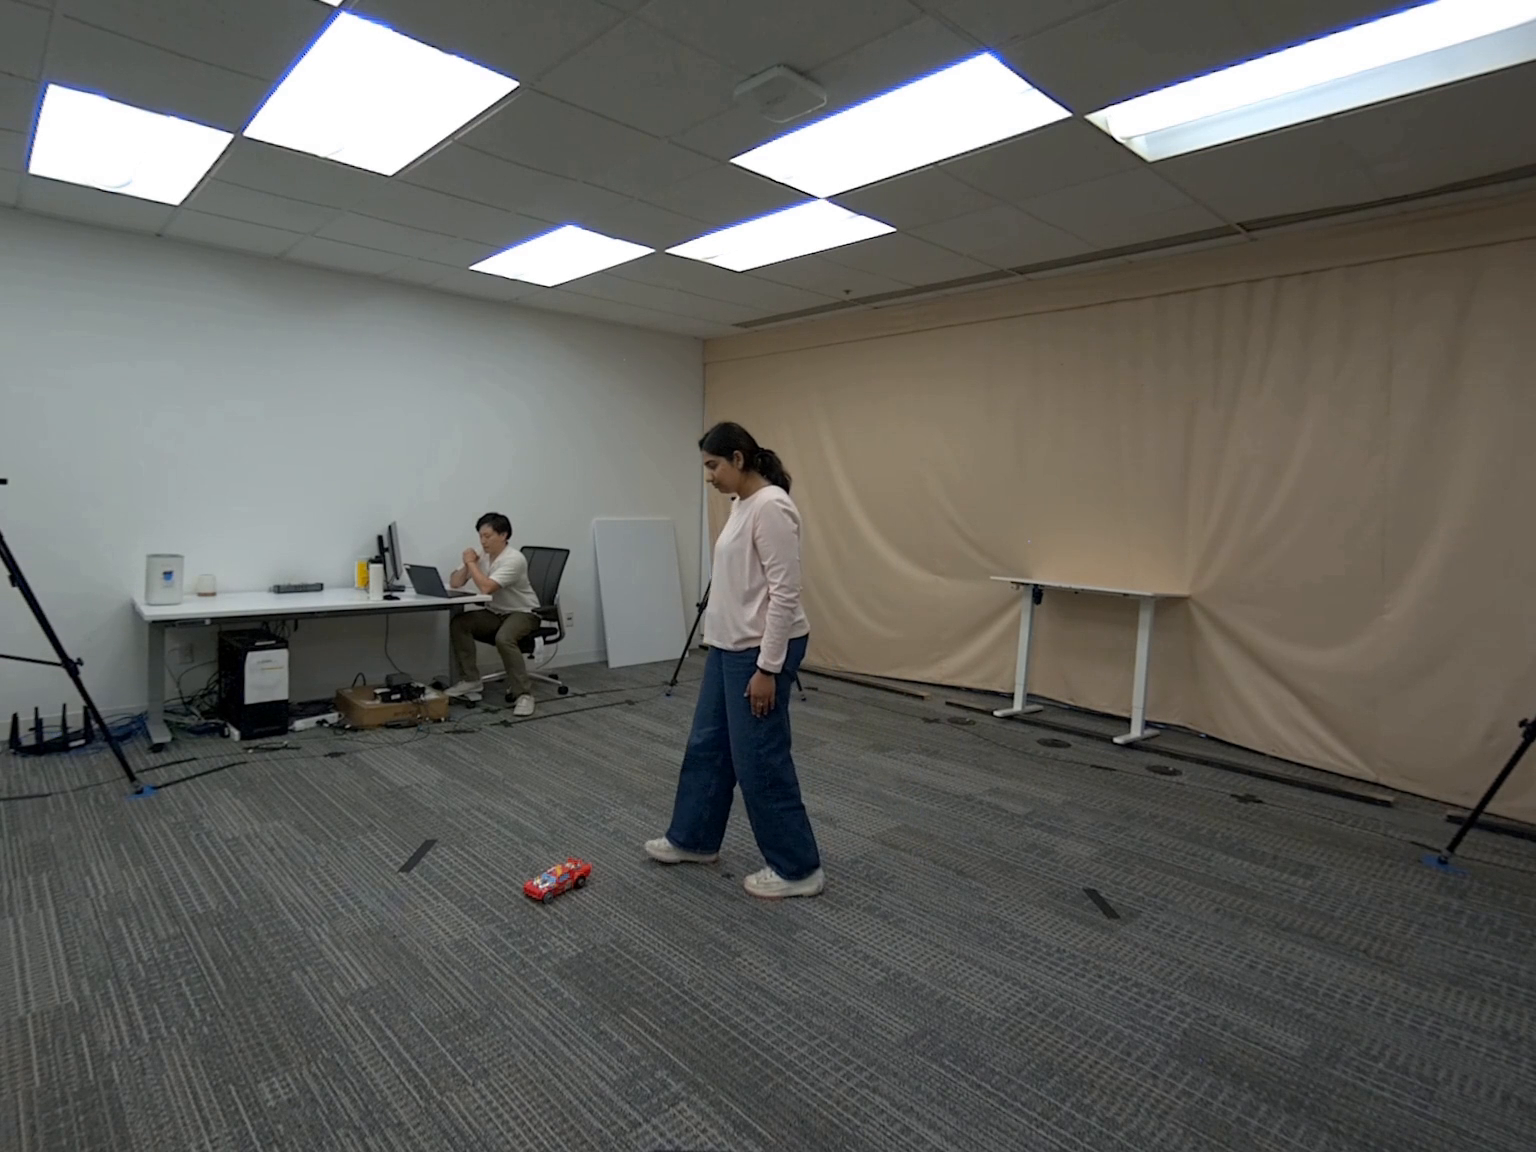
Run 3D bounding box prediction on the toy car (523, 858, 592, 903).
[{"bbox_3d":[-0.746,1.077,2.967,0.133,0.082,0.251,4,16,36],"label":"toy car"}]
